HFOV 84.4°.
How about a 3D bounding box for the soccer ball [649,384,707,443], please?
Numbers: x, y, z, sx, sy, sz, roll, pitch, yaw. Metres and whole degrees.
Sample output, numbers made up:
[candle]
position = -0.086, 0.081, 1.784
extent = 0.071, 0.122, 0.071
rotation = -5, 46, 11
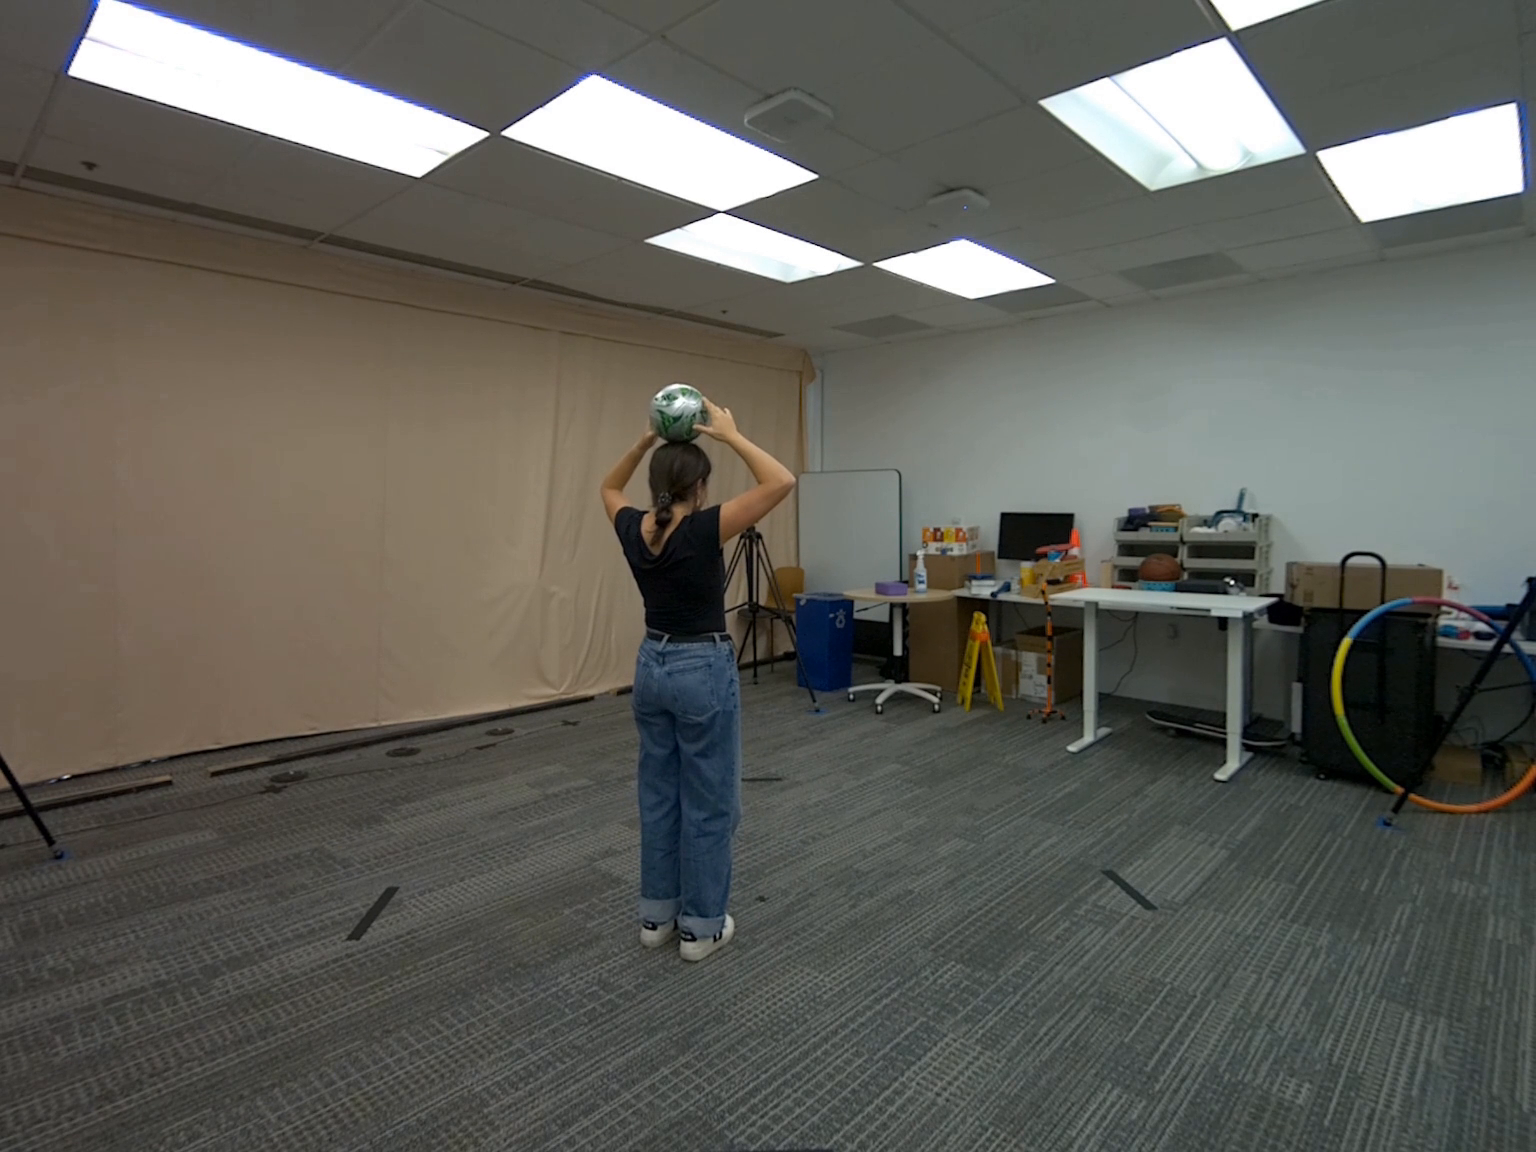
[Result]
[soccer ball]
position = -0.267, -0.502, 2.631
extent = 0.187, 0.187, 0.188
rotation = 0, 4, -2
